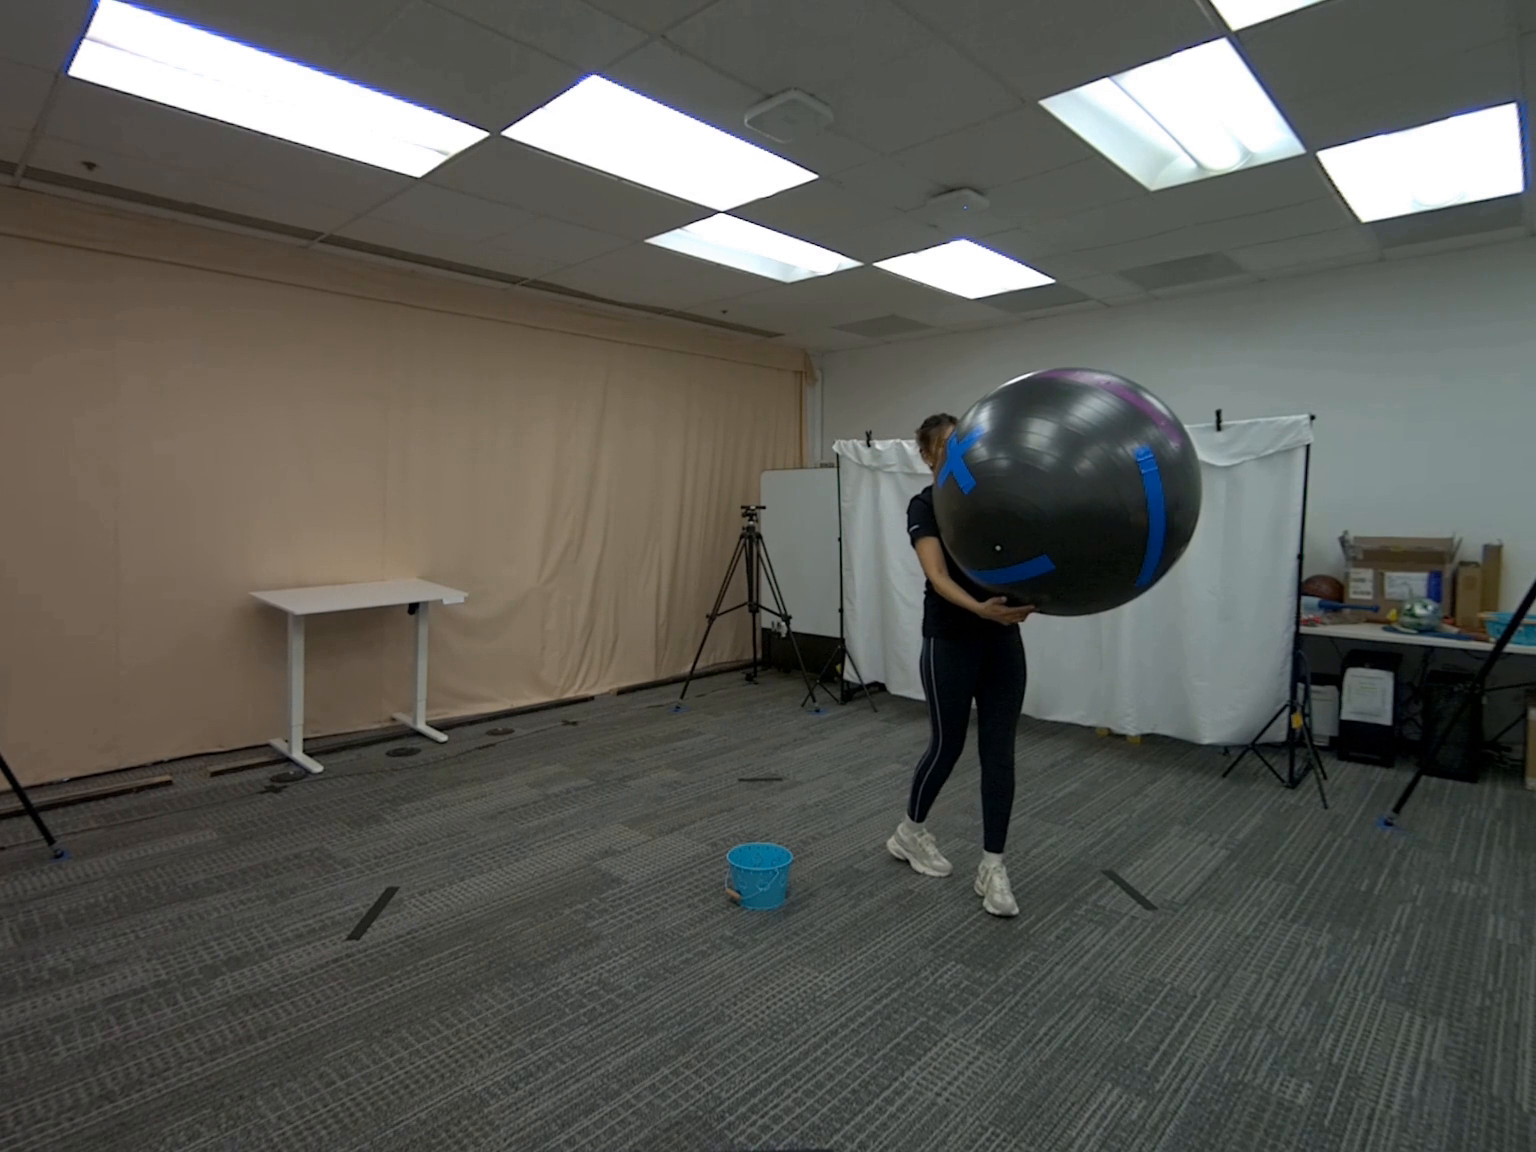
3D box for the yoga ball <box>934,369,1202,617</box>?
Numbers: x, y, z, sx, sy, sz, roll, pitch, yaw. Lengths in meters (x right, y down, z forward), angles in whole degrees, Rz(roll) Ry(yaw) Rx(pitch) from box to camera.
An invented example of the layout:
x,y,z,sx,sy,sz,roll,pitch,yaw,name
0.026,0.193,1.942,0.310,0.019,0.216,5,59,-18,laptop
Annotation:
x,y,z,sx,sy,sz,roll,pitch,yaw,name
0.911,-0.250,2.580,0.757,0.756,0.761,0,4,-2,yoga ball
